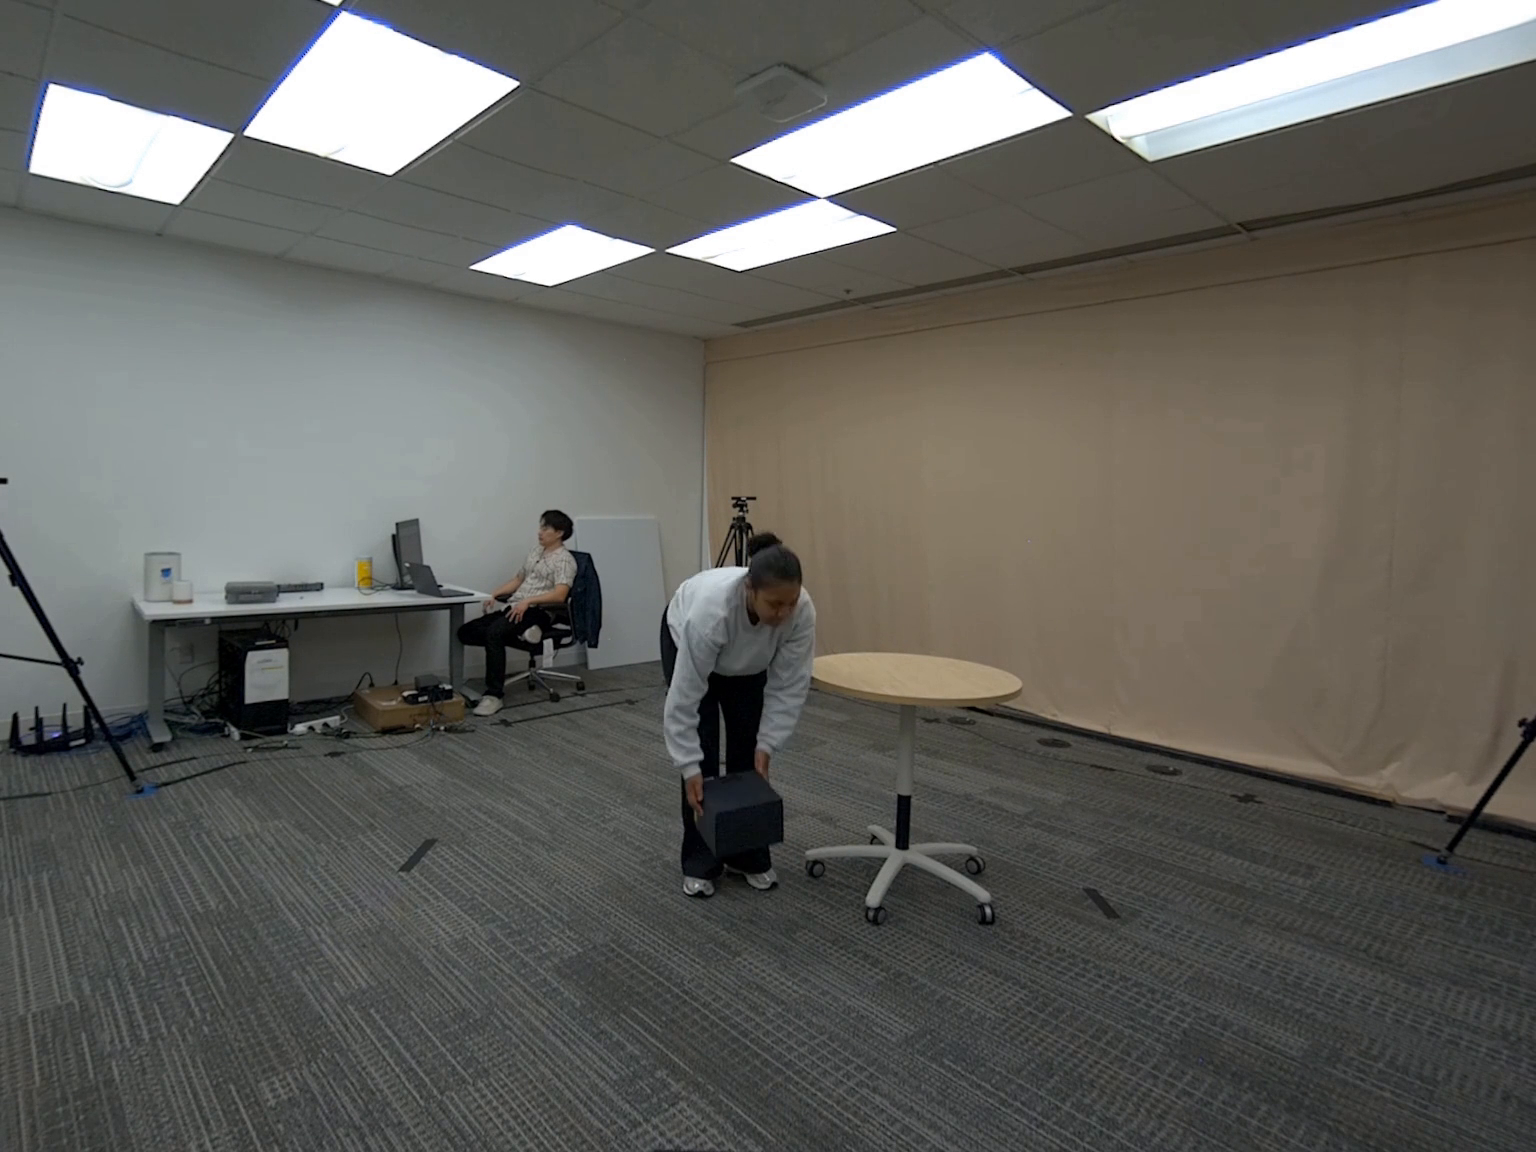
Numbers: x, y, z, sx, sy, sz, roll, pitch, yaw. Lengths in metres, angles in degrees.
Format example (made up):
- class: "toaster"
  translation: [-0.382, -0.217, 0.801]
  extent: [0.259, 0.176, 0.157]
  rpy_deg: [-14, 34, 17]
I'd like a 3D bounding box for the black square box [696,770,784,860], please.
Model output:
- class: "black square box"
  translation: [-0.098, 0.748, 2.711]
  extent: [0.224, 0.154, 0.222]
  rpy_deg: [-6, 13, -22]
